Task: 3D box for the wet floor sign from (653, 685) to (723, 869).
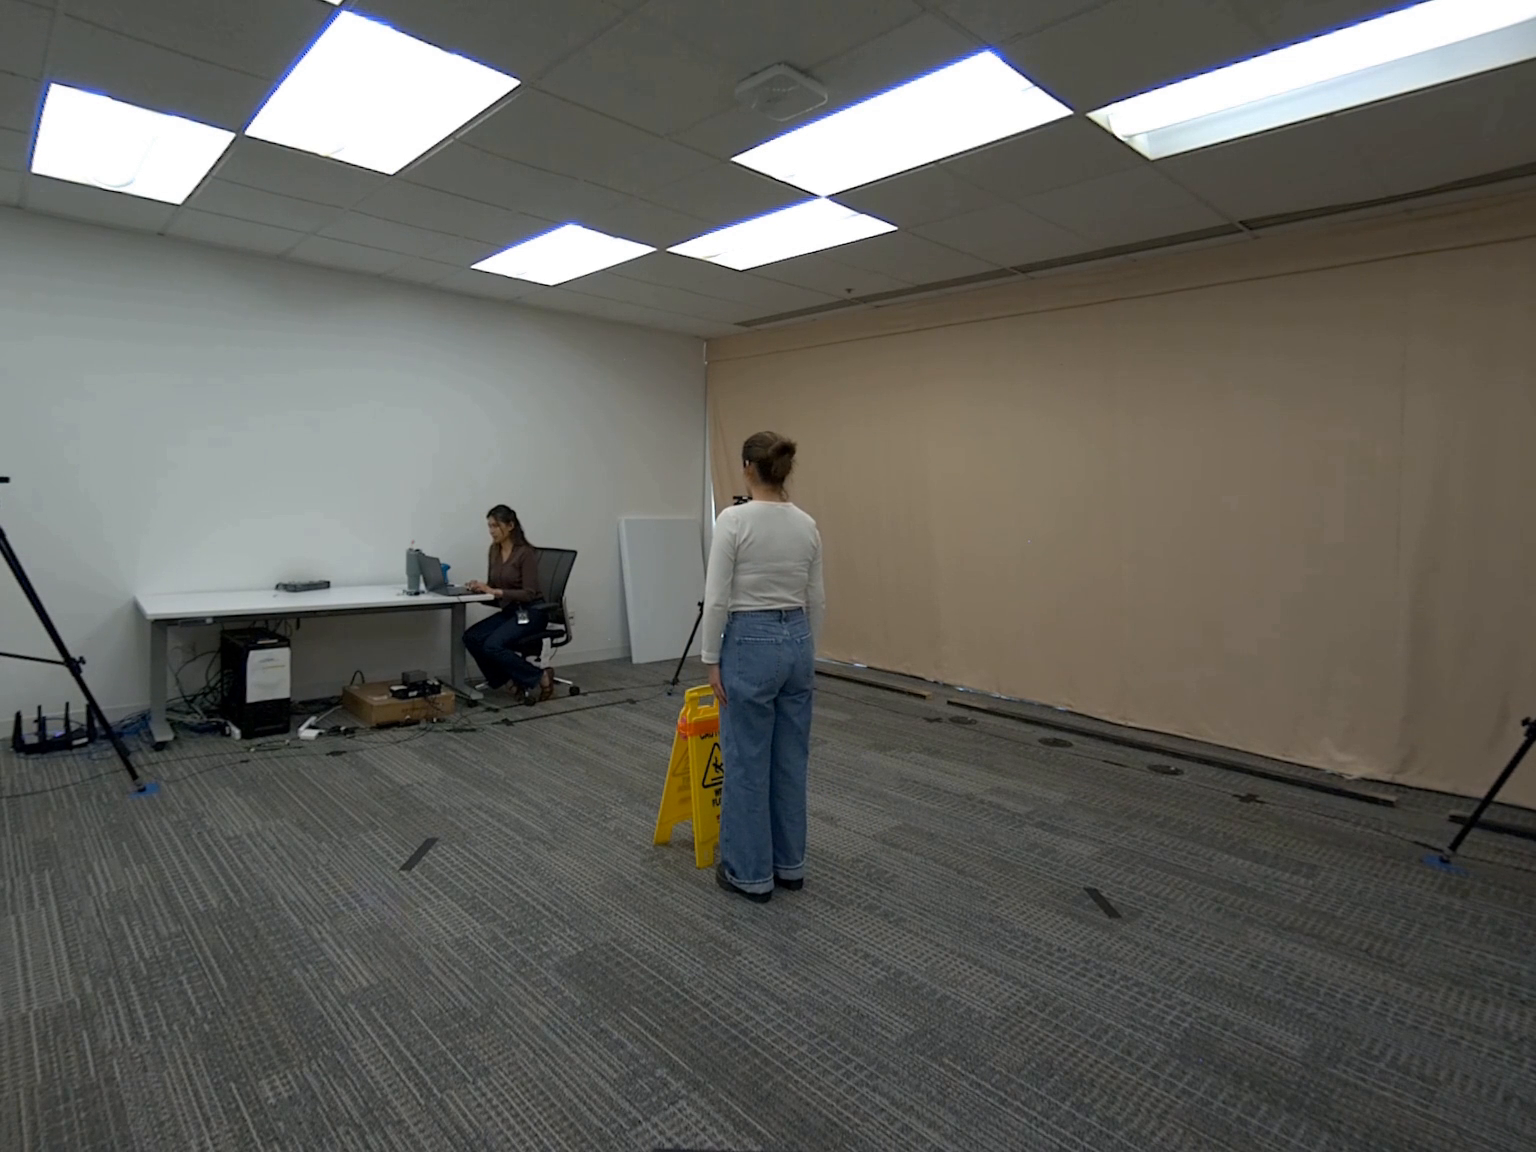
[{"bbox_3d":[-0.262,0.756,3.323,0.276,0.645,0.297,-1,3,-44],"label":"wet floor sign"}]
